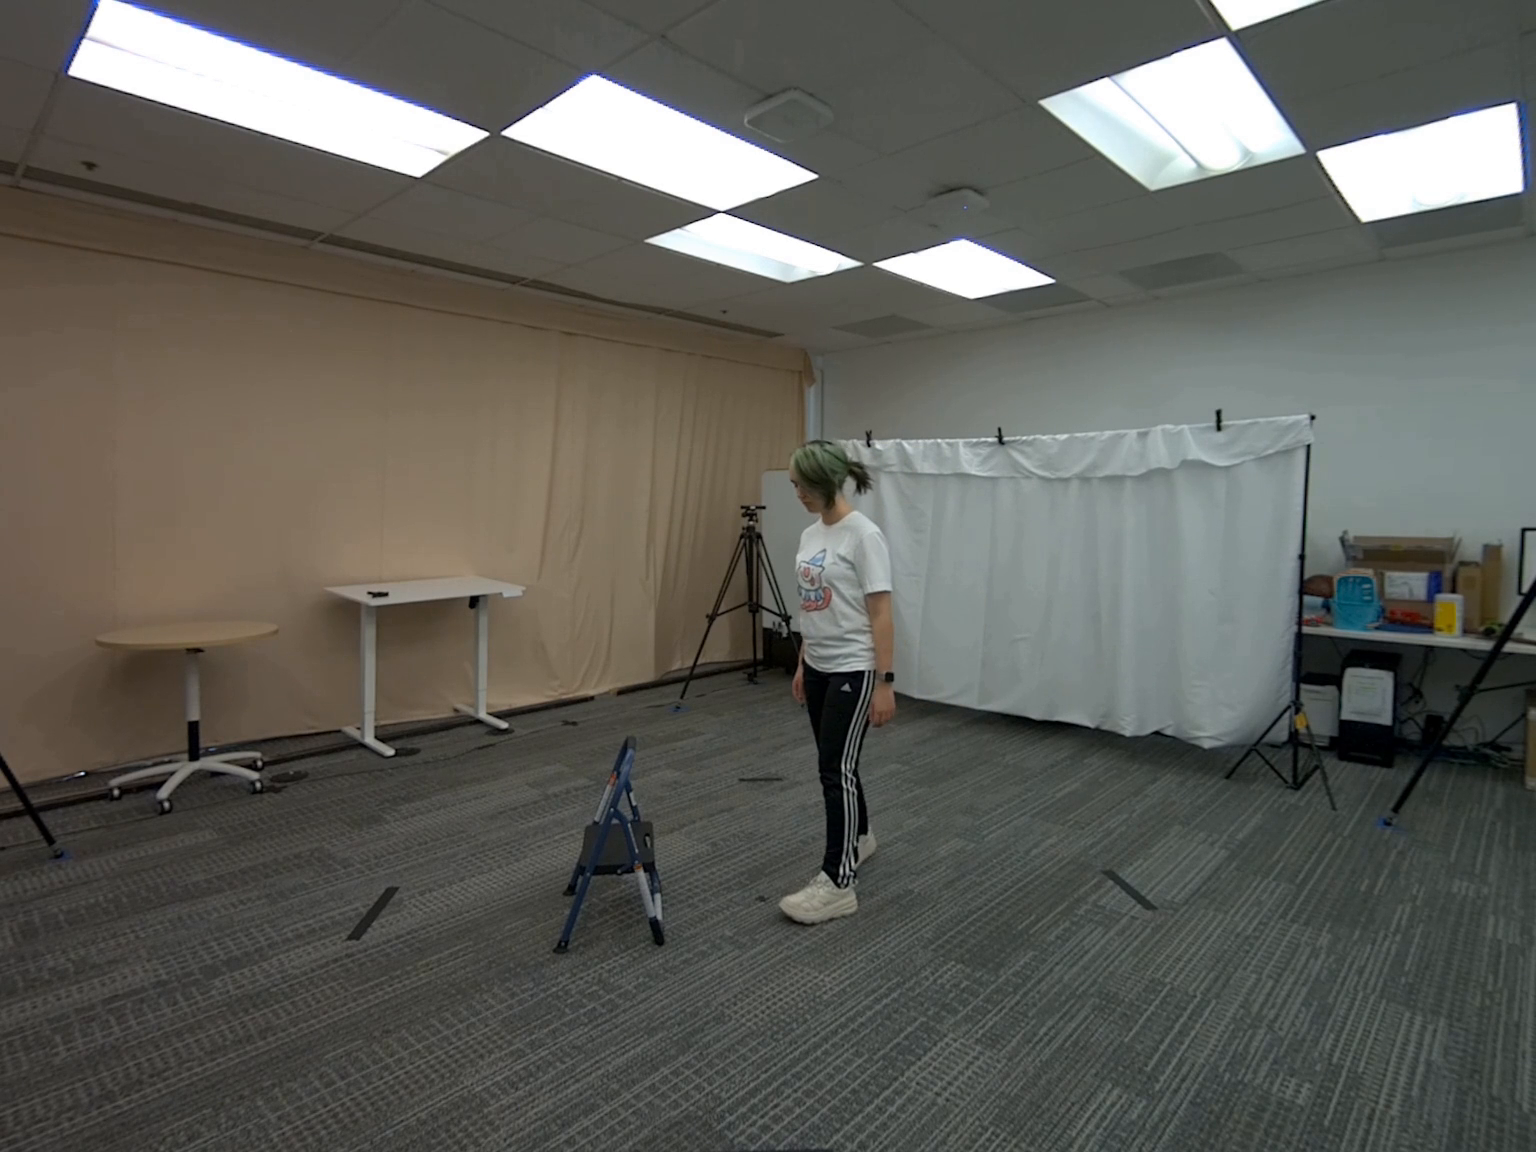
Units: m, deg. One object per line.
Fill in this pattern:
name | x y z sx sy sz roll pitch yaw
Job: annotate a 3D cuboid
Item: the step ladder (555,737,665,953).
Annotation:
step ladder | -0.533 0.862 2.836 0.346 0.605 0.436 -1 3 -10
